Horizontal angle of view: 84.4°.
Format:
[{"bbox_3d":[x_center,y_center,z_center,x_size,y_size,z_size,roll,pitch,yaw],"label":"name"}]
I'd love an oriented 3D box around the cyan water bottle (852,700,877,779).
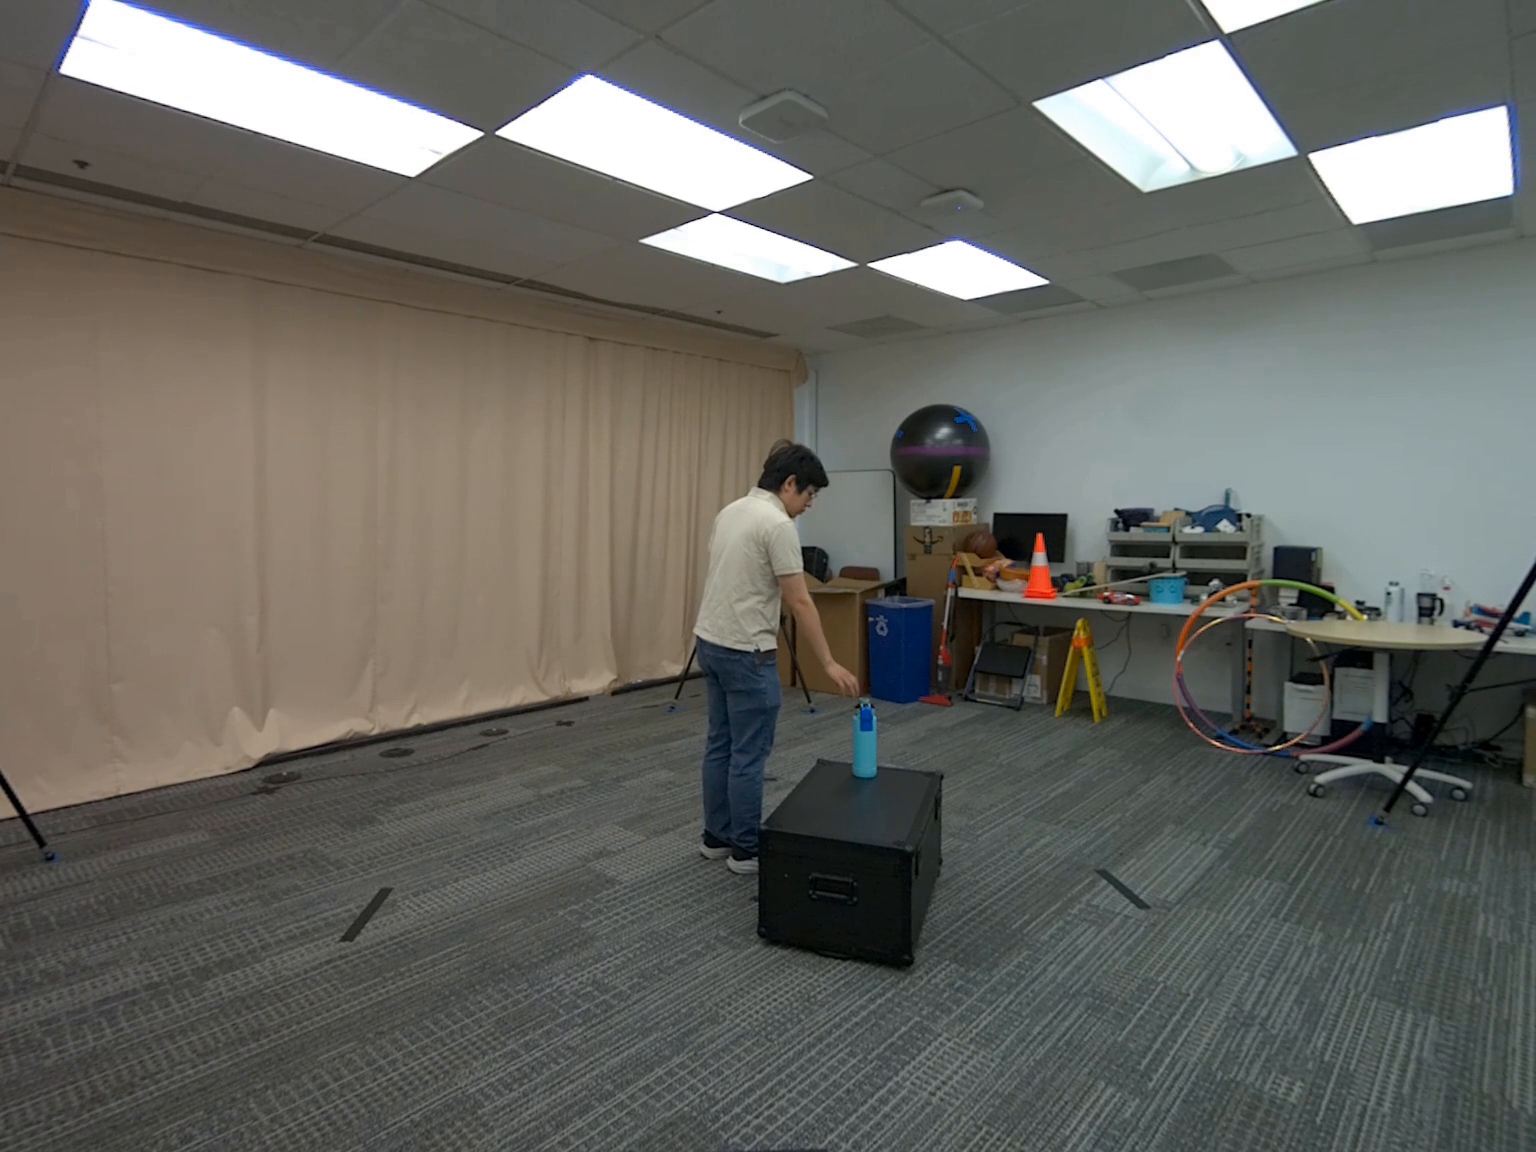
[{"bbox_3d":[0.373,0.611,3.179,0.092,0.283,0.092,0,4,-2],"label":"cyan water bottle"}]
